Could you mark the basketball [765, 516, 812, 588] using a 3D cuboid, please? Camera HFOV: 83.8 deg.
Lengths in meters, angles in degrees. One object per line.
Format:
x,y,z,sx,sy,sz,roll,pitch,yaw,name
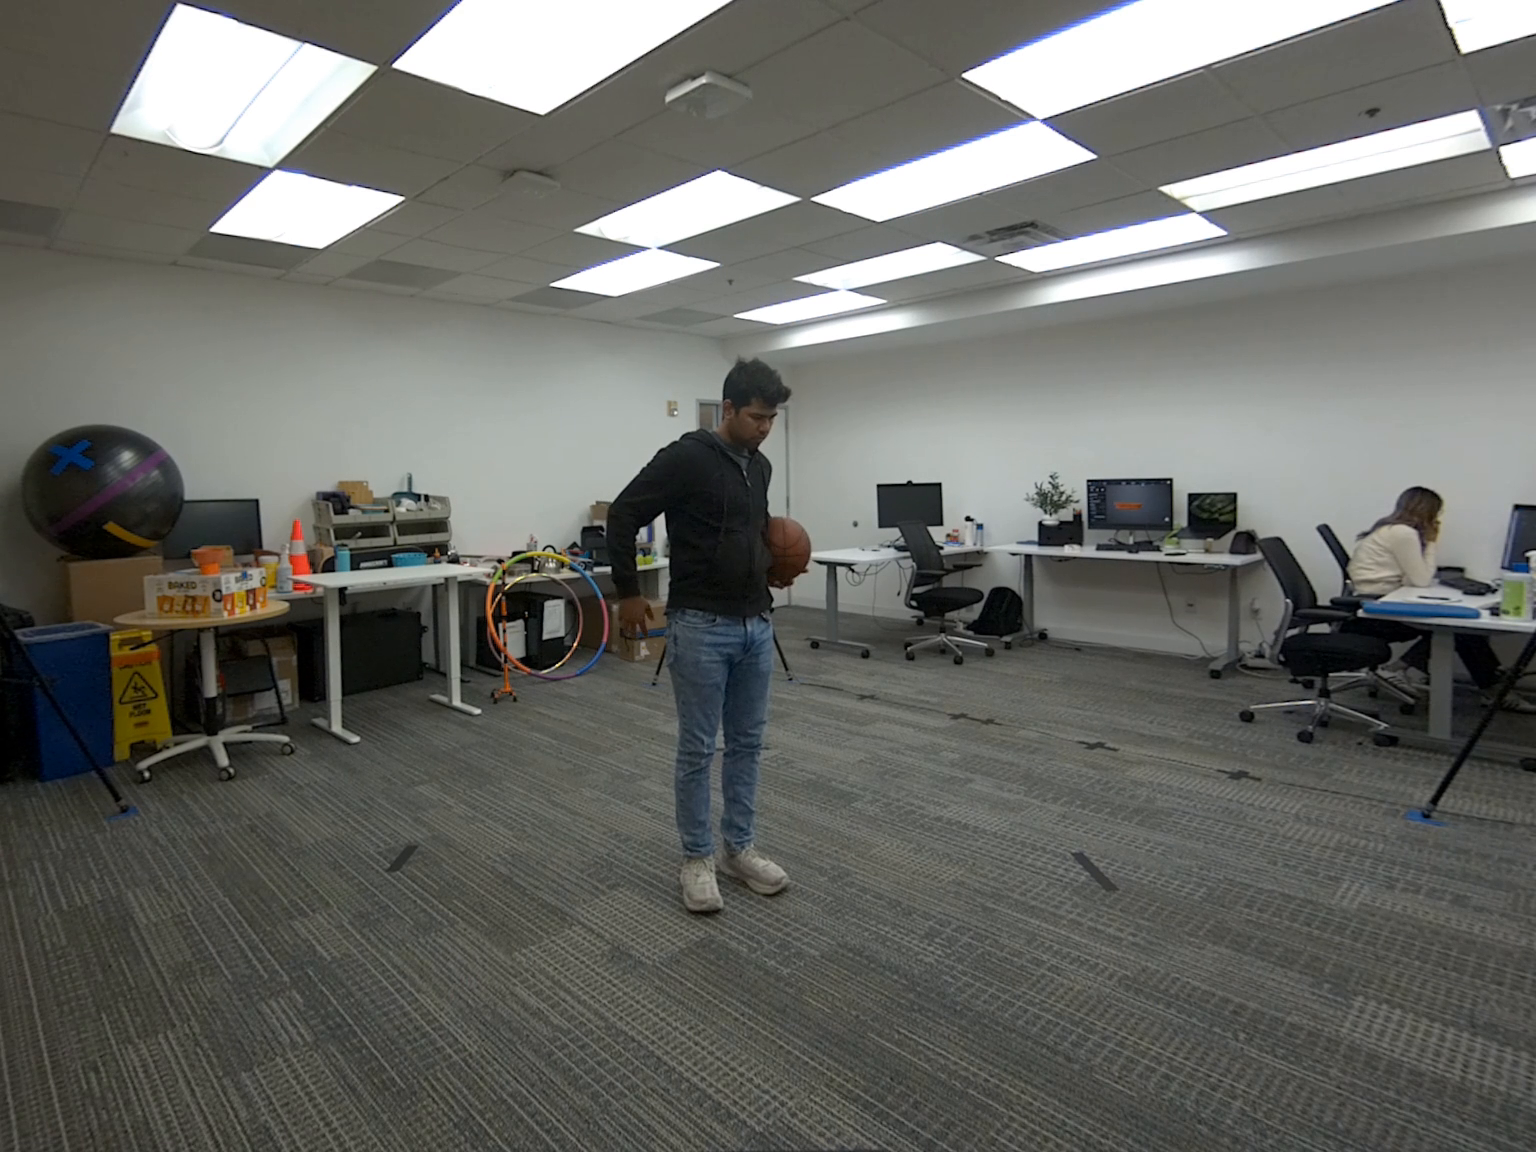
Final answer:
0.034,-0.102,3.068,0.236,0.235,0.237,-1,5,-2,basketball
